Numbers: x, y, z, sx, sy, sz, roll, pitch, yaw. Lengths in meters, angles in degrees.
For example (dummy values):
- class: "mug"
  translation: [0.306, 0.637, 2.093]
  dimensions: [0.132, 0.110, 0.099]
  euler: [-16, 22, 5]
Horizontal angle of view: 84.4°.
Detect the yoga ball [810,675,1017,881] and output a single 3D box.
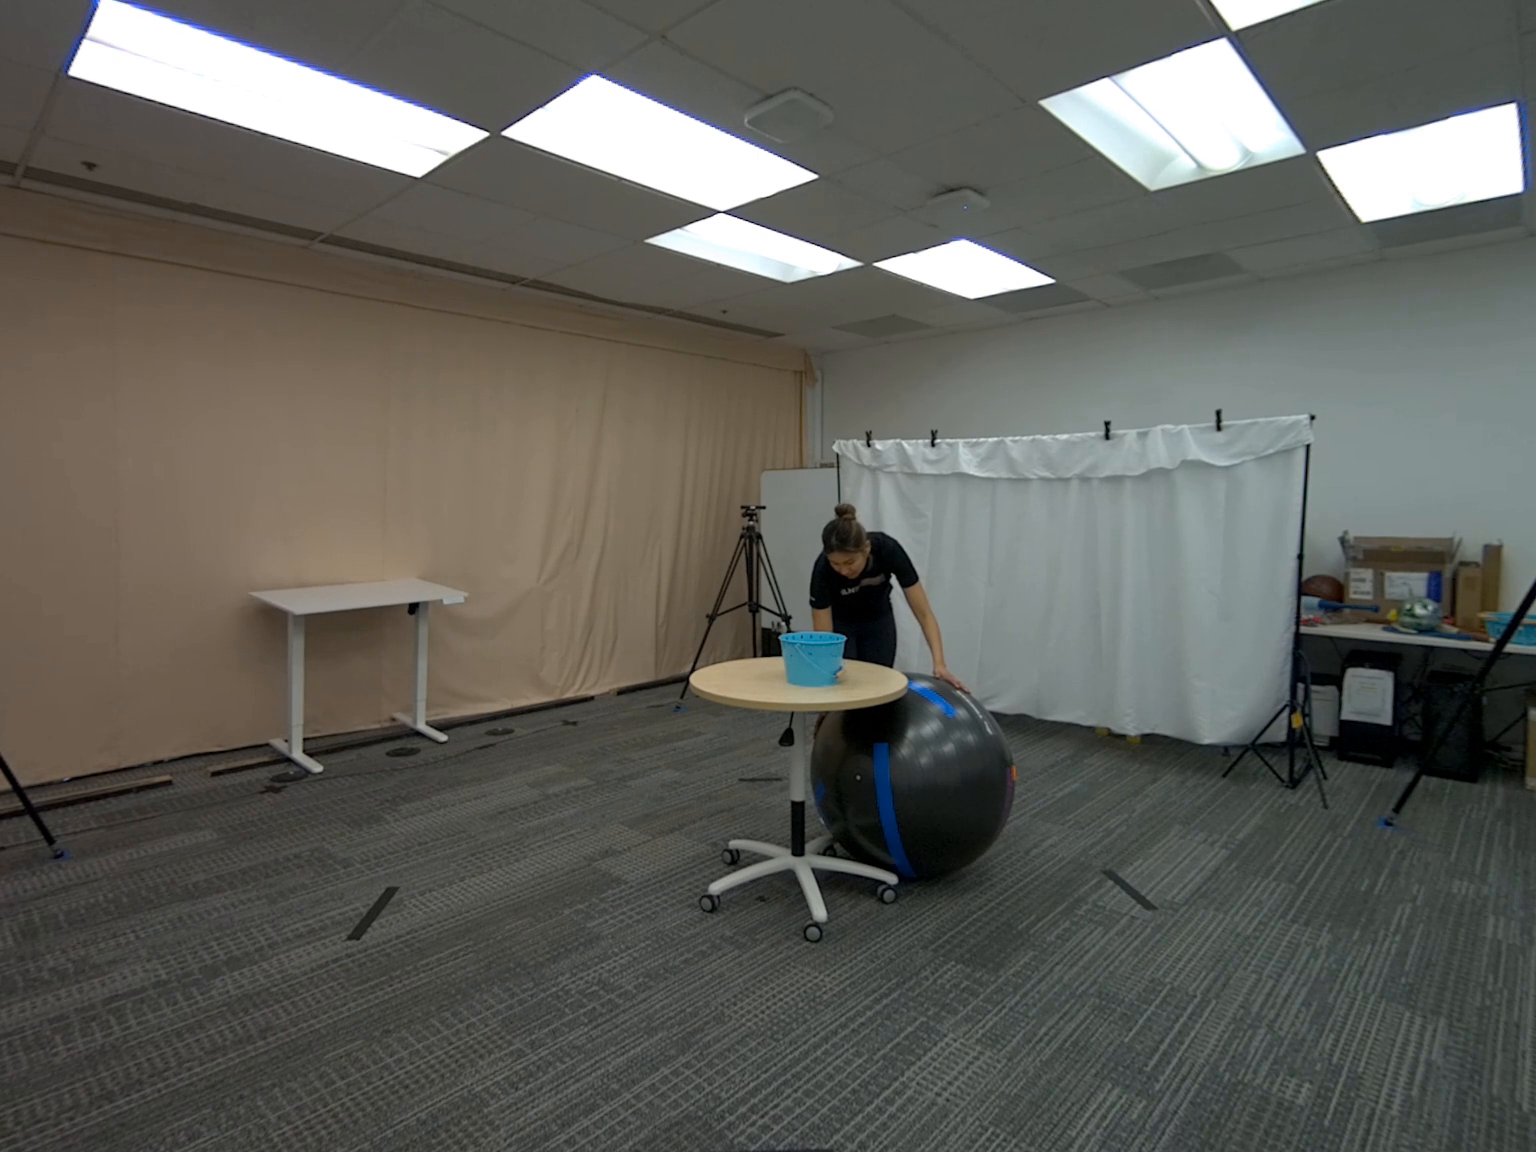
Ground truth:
- class: "yoga ball"
  translation: [0.556, 0.760, 3.219]
  dimensions: [0.757, 0.756, 0.761]
  euler: [0, 4, -2]
